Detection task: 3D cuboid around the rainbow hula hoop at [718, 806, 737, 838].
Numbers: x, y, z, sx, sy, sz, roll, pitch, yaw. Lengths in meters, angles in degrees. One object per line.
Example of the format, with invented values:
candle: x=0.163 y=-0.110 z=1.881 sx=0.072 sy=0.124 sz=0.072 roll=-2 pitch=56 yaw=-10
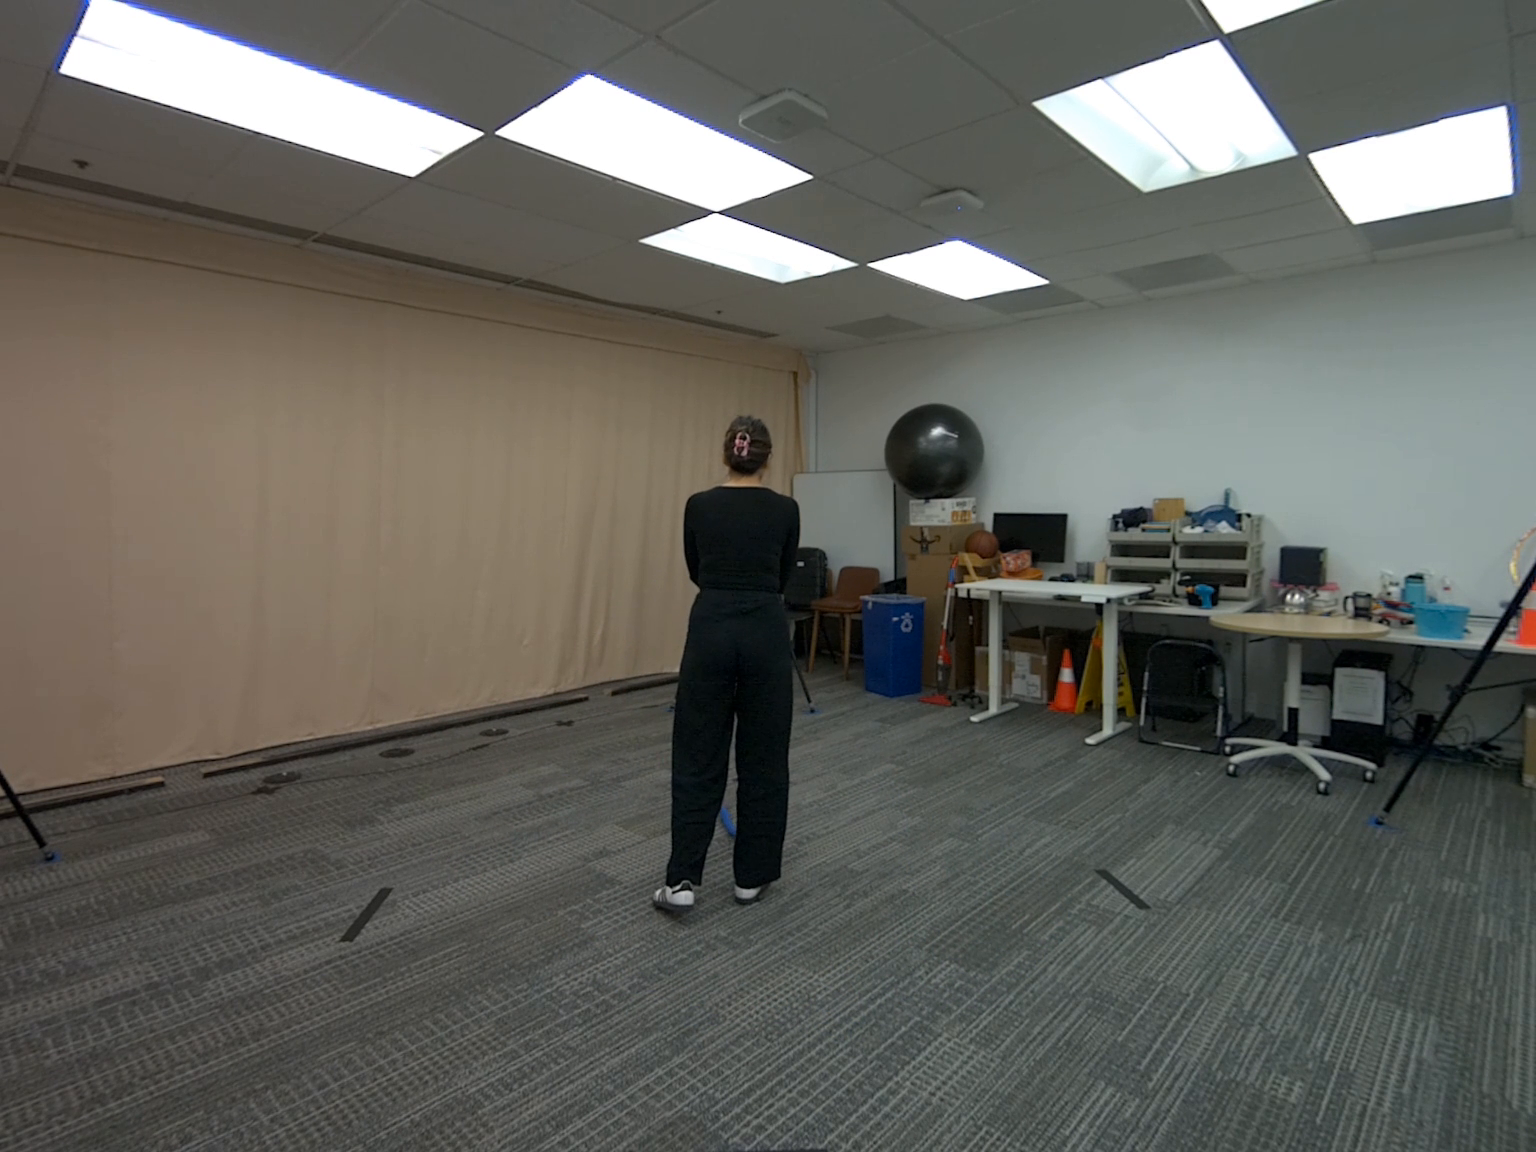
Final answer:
rainbow hula hoop: x=-0.165 y=0.606 z=3.616 sx=0.035 sy=0.976 sz=0.992 roll=0 pitch=4 yaw=-13
